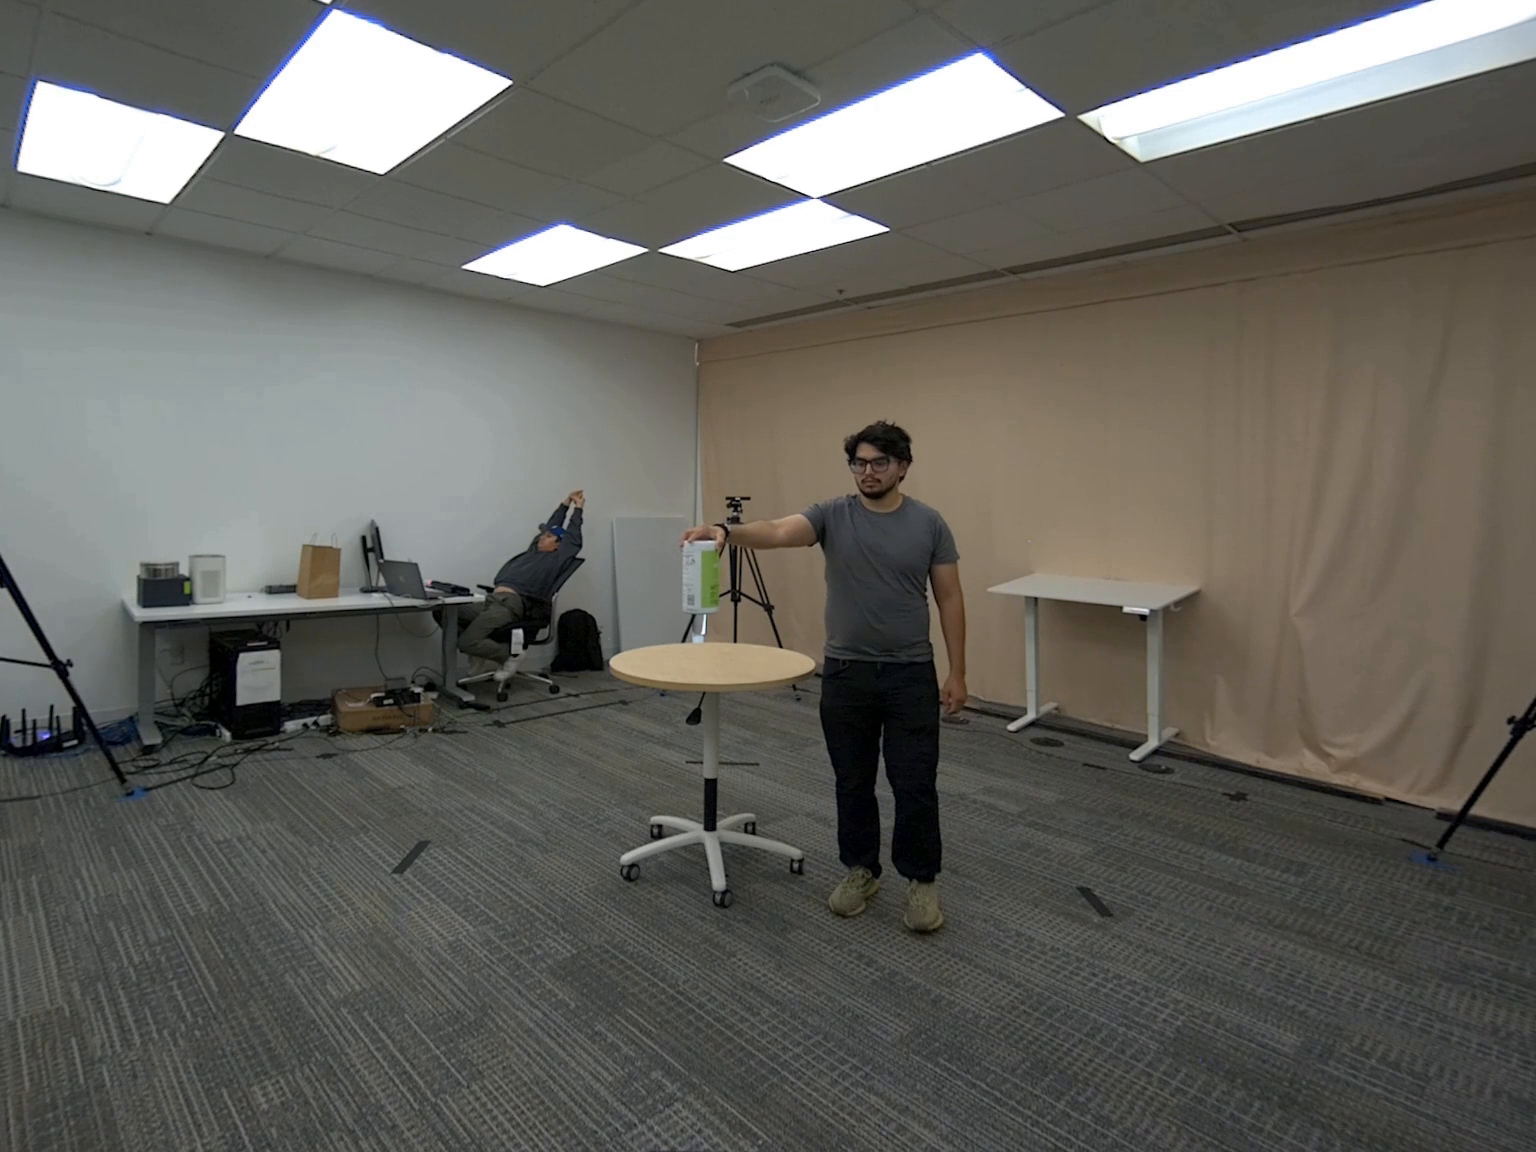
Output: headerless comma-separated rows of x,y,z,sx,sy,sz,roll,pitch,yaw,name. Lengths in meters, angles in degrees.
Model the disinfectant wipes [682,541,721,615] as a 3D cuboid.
-0.204,0.001,2.487,0.118,0.217,0.118,1,2,-1,disinfectant wipes
